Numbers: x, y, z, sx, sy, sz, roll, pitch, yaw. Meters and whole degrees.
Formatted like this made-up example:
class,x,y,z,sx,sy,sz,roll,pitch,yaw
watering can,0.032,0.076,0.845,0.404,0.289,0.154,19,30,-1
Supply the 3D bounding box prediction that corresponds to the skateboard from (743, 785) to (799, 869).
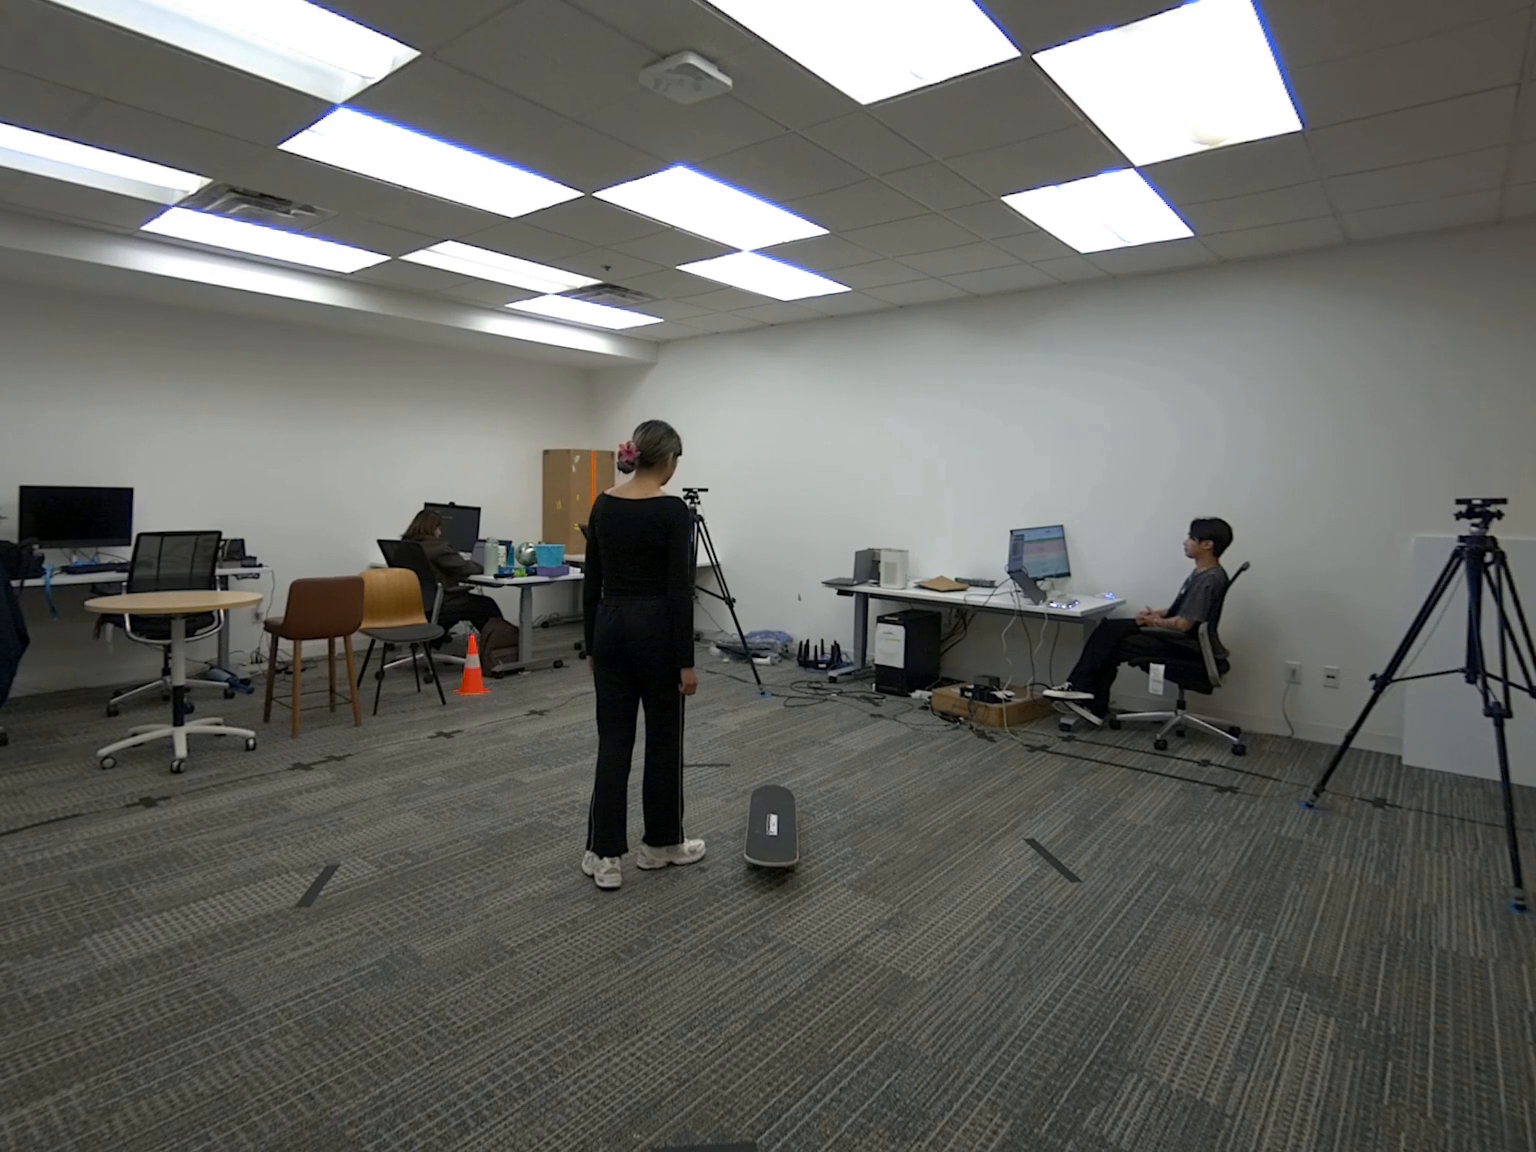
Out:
class,x,y,z,sx,sy,sz,roll,pitch,yaw
skateboard,0.007,0.992,3.315,0.194,0.110,0.786,2,6,1
